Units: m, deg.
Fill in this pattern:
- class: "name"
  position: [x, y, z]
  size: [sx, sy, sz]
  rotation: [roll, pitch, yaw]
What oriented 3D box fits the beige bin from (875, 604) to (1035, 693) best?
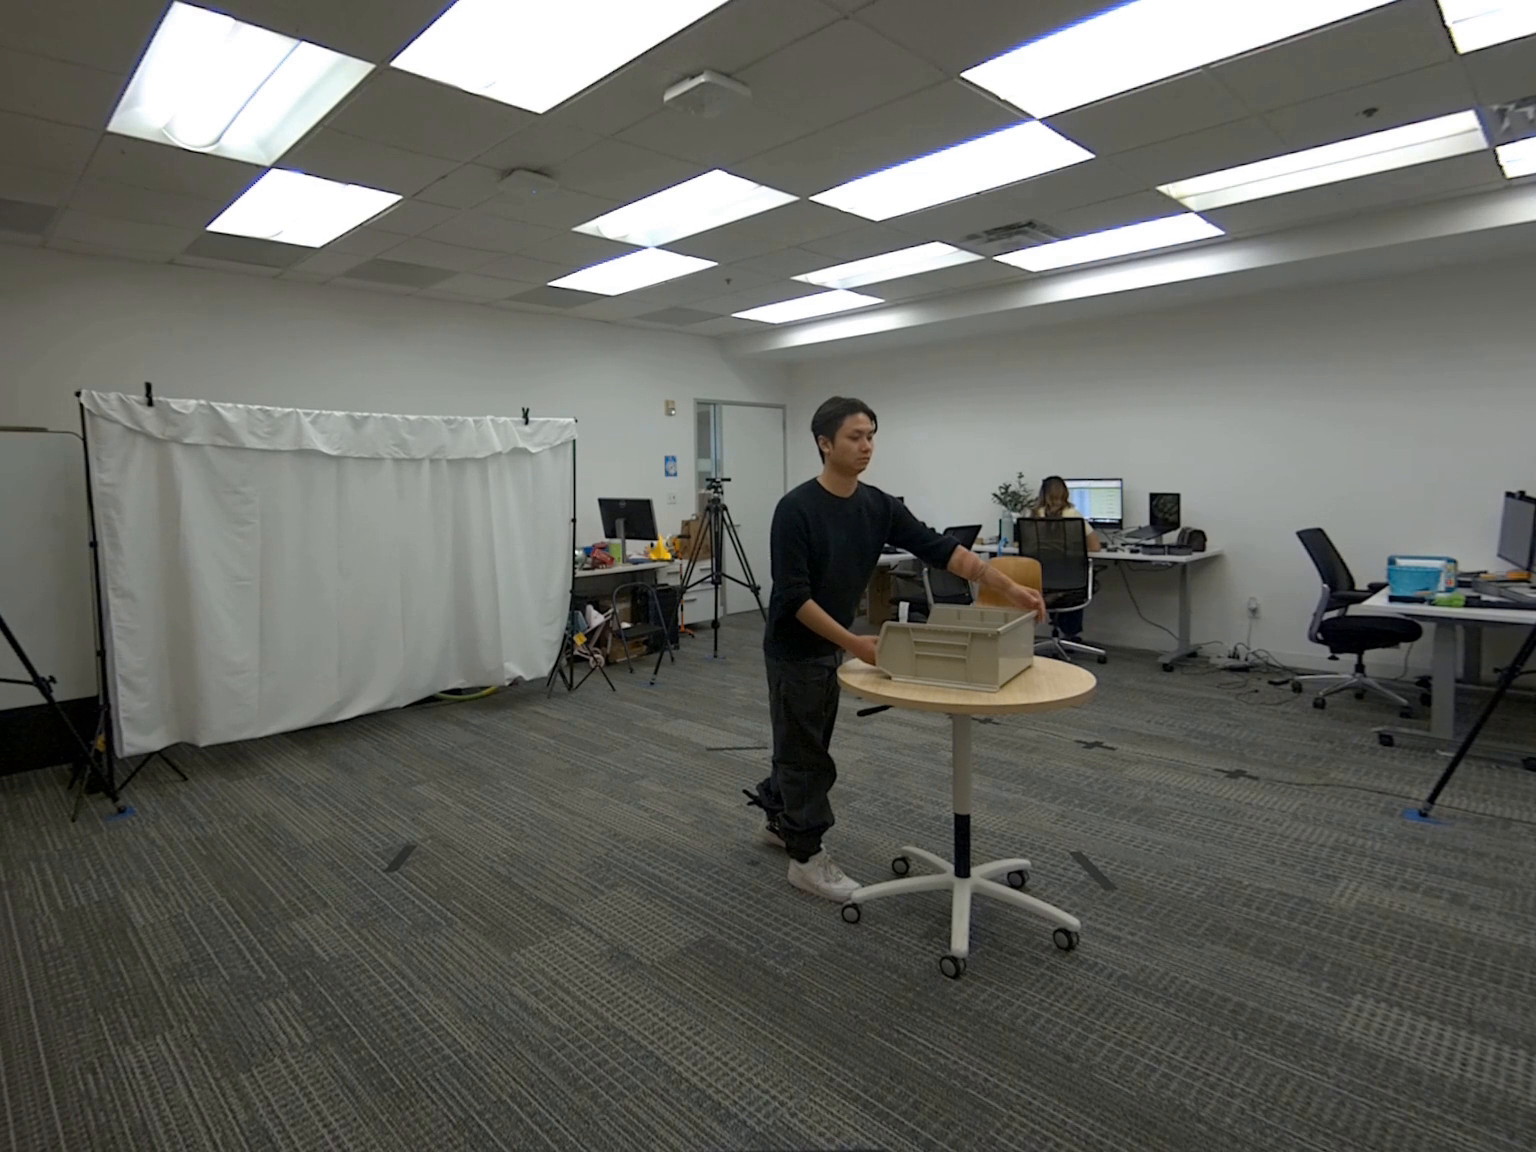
- class: "beige bin"
  position: [0.592, 0.215, 2.641]
  size: [0.388, 0.188, 0.412]
  rotation: [3, 7, 32]
